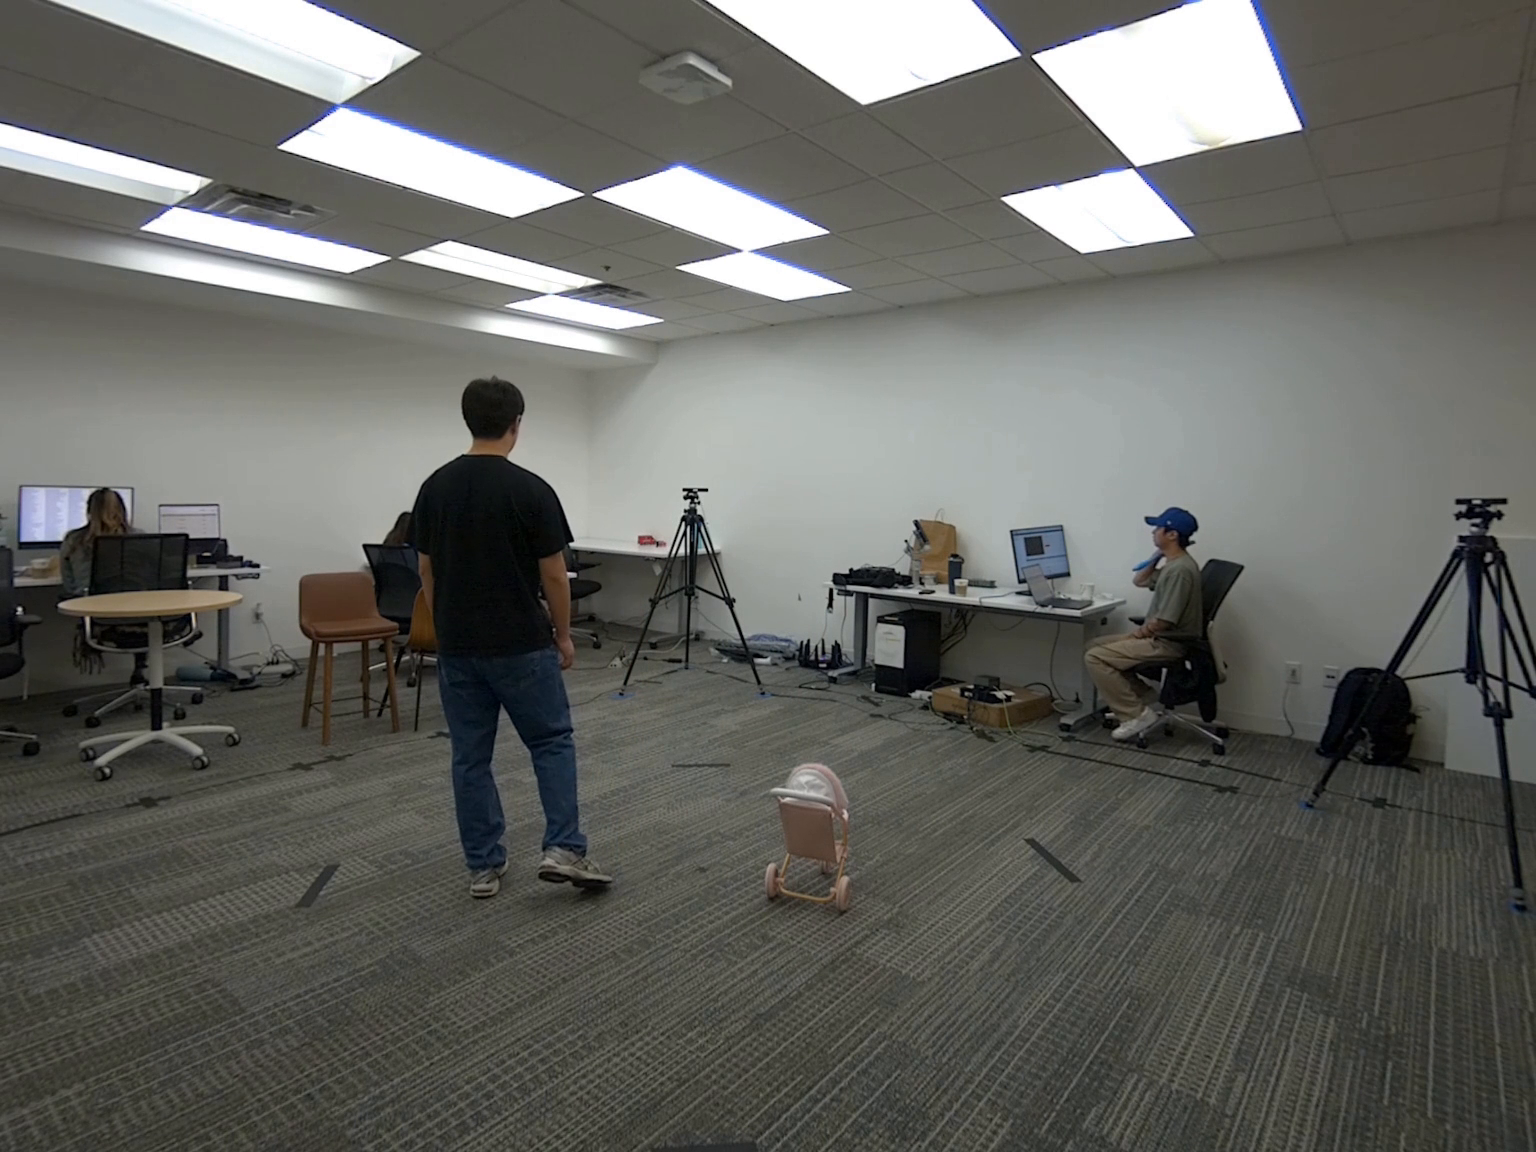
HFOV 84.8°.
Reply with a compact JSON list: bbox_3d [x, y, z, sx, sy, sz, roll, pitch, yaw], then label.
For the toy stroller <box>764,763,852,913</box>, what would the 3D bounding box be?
[{"bbox_3d":[0.152,0.873,2.919,0.288,0.525,0.339,4,20,22],"label":"toy stroller"}]
